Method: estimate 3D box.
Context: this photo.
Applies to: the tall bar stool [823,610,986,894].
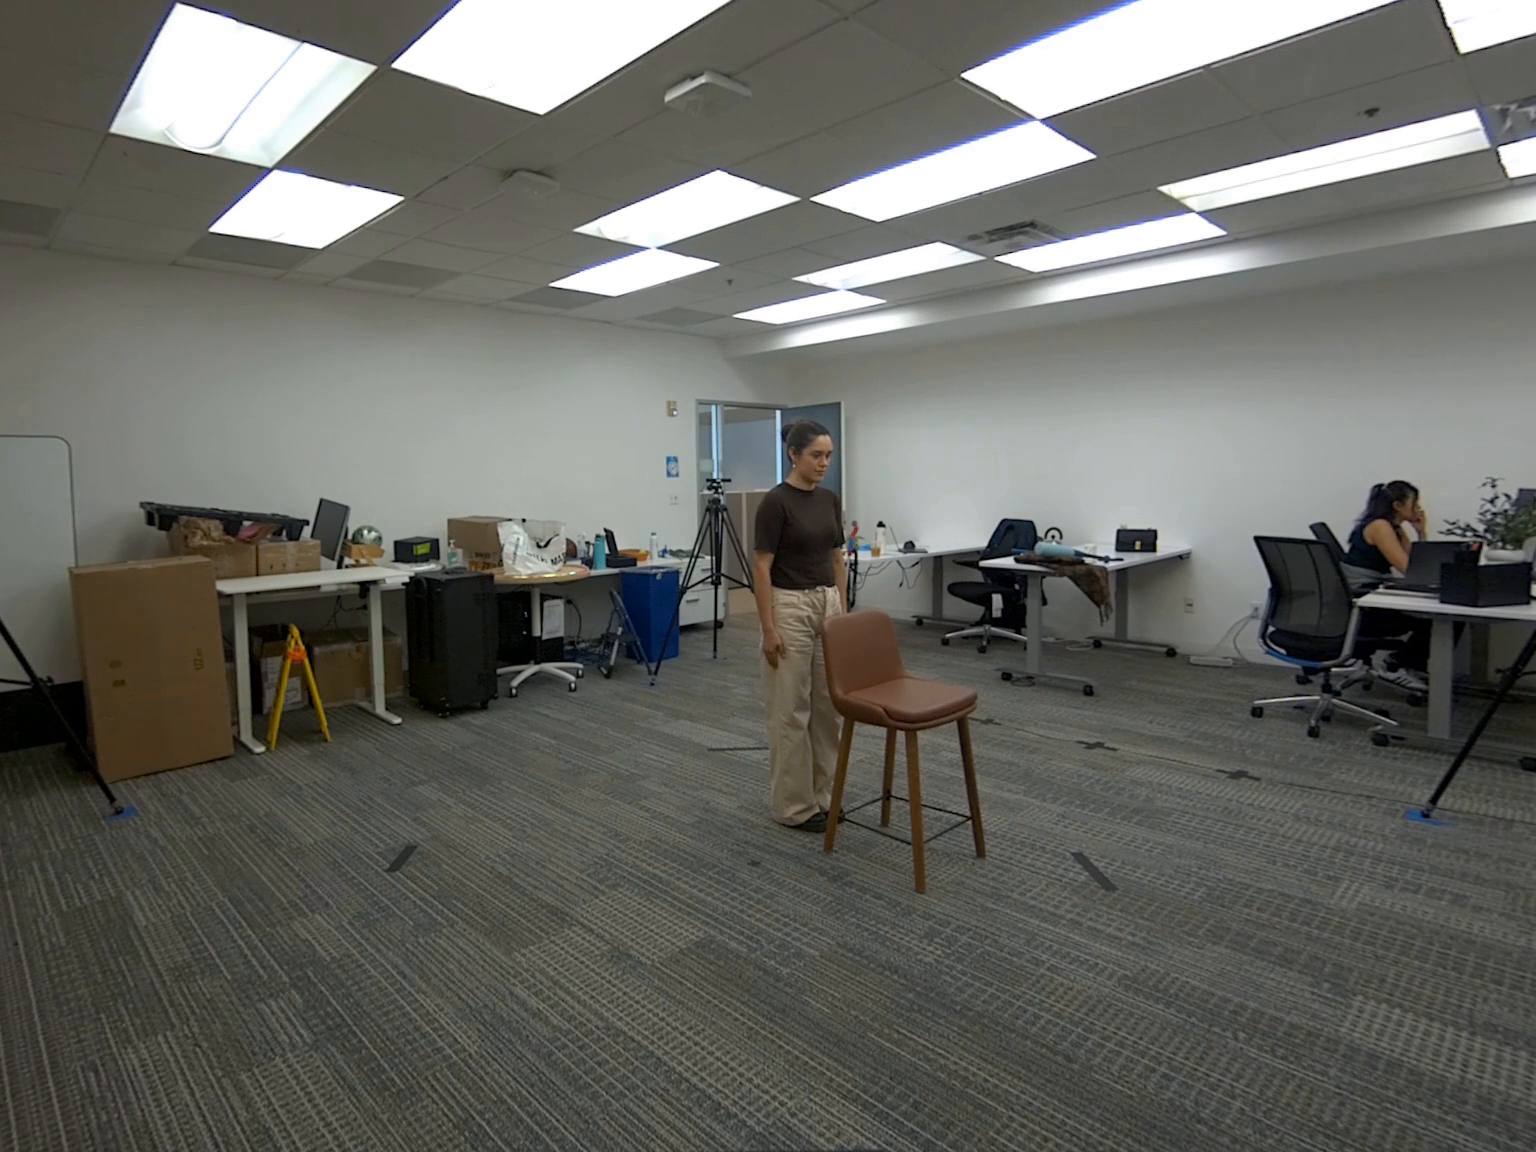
[{"bbox_3d":[0.486,0.593,3.136,0.444,0.888,0.481,-3,2,-44],"label":"tall bar stool"}]
